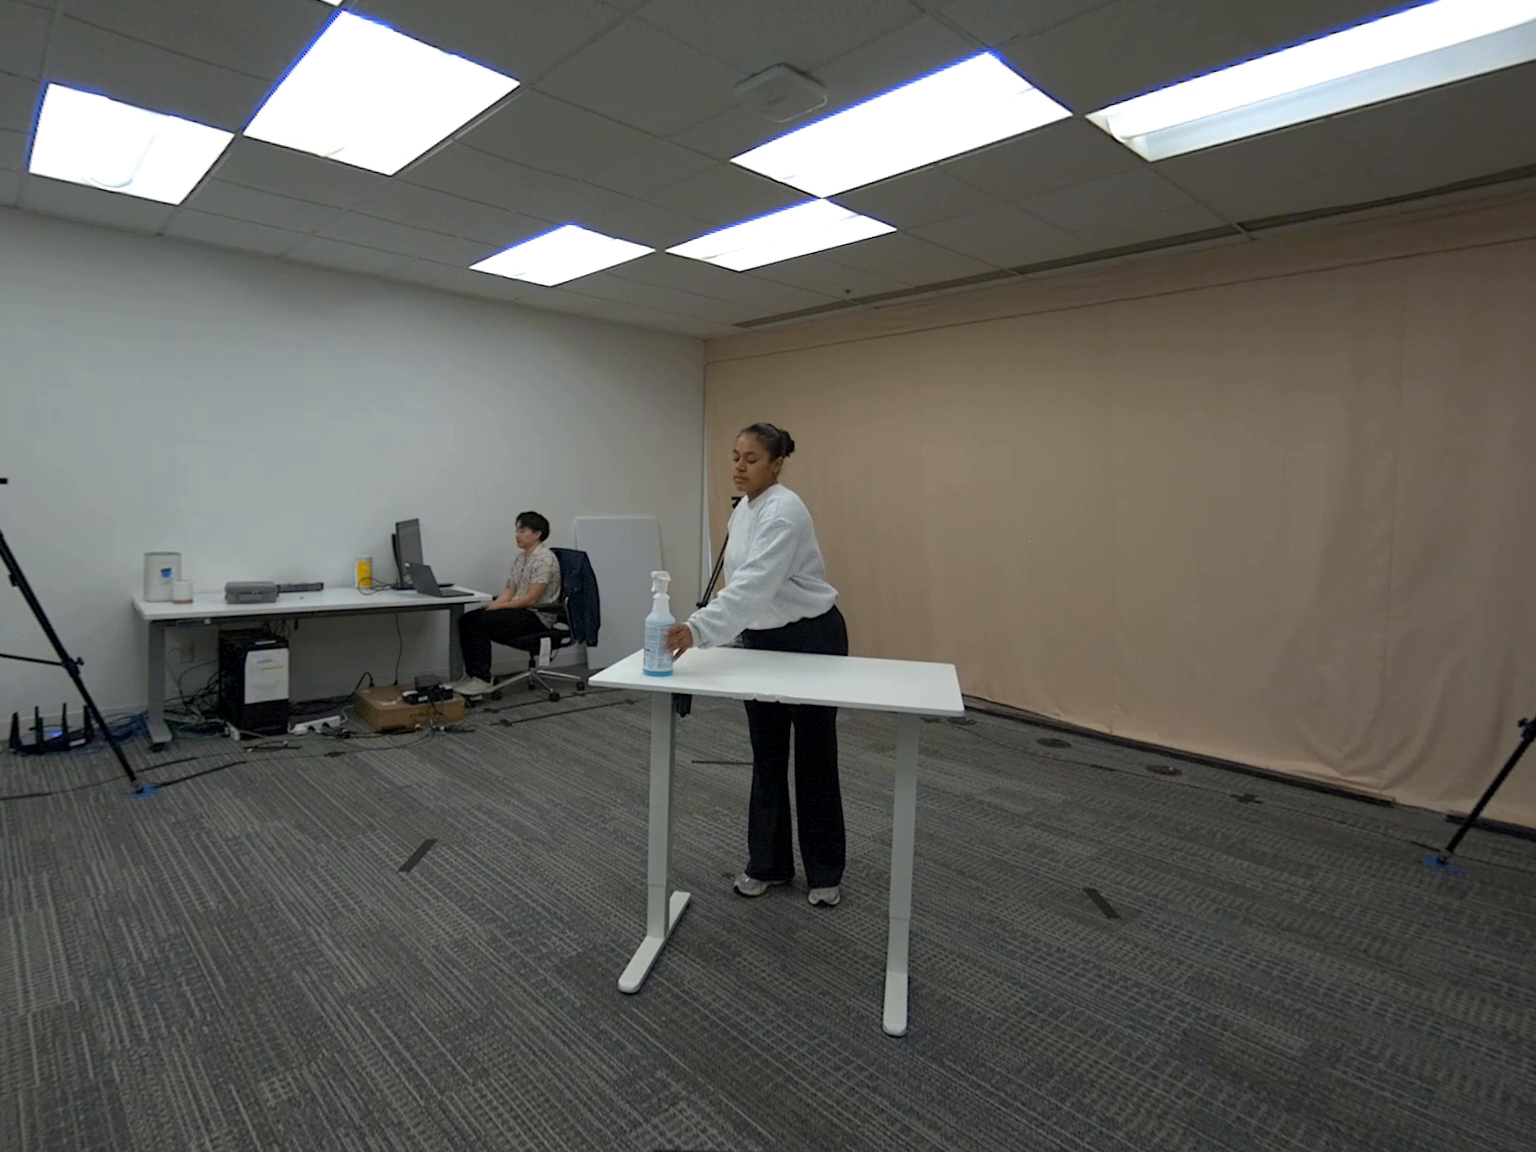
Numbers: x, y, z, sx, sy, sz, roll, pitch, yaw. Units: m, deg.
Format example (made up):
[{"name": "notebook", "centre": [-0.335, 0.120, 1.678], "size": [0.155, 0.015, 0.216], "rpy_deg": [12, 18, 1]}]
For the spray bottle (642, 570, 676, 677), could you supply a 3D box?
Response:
[{"name": "spray bottle", "centre": [-0.313, 0.137, 2.404], "size": [0.088, 0.296, 0.089], "rpy_deg": [1, 5, -38]}]
